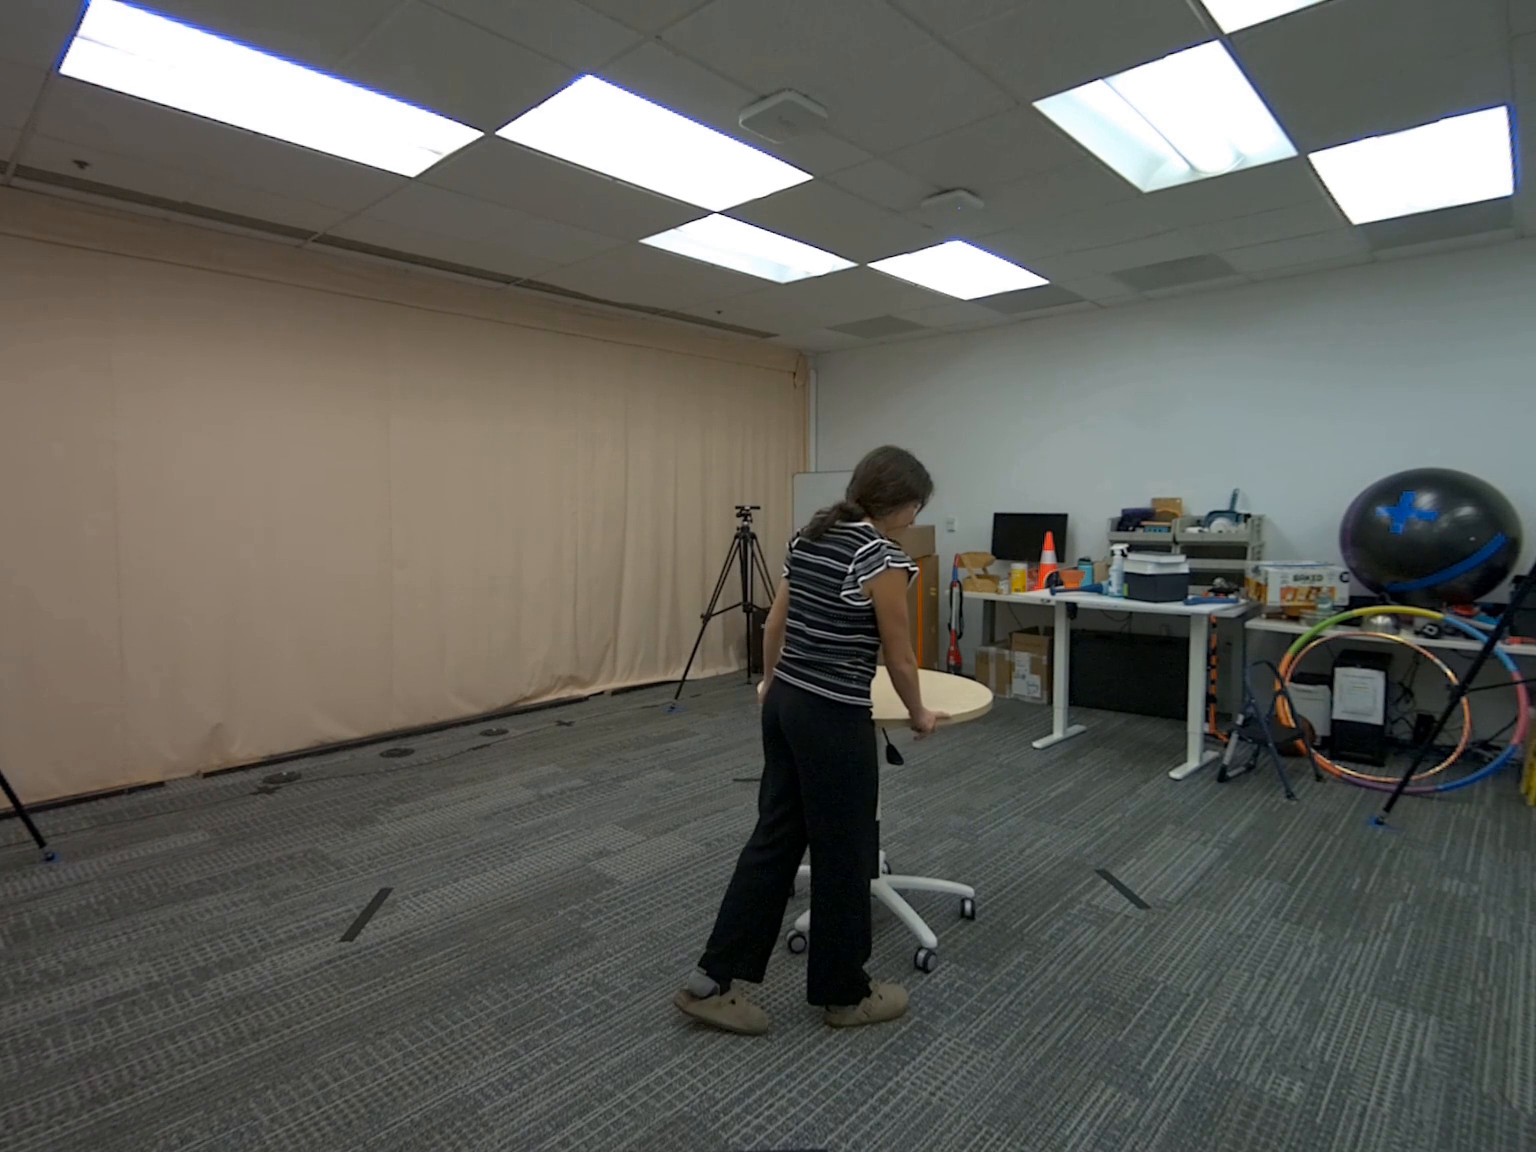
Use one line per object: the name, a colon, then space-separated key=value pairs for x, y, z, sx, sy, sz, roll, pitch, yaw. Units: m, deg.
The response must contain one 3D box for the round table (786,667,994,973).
round table: x=0.355 y=0.767 z=2.833 sx=0.763 sy=0.792 sz=0.767 roll=0 pitch=4 yaw=-2
